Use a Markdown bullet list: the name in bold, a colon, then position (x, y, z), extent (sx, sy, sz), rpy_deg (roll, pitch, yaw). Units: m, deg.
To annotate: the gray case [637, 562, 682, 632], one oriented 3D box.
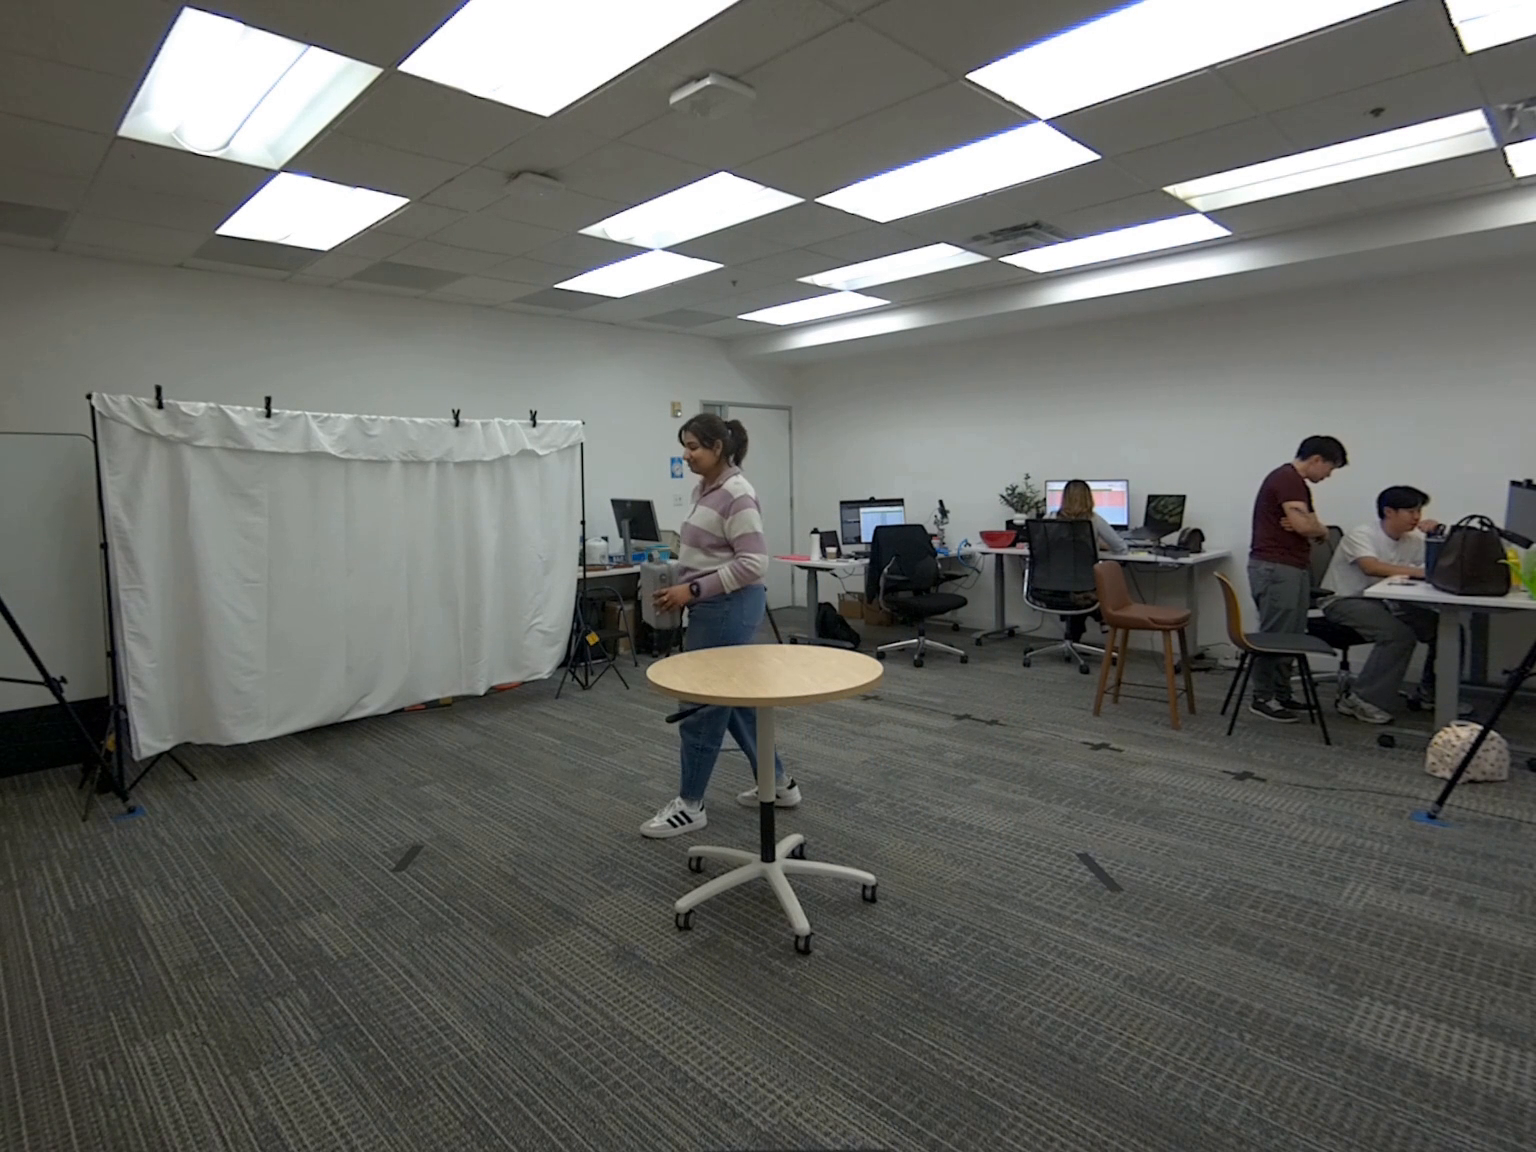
- **gray case**: position (-0.428, 0.063, 3.406), extent (0.102, 0.260, 0.262), rpy_deg (-4, 5, -21)
